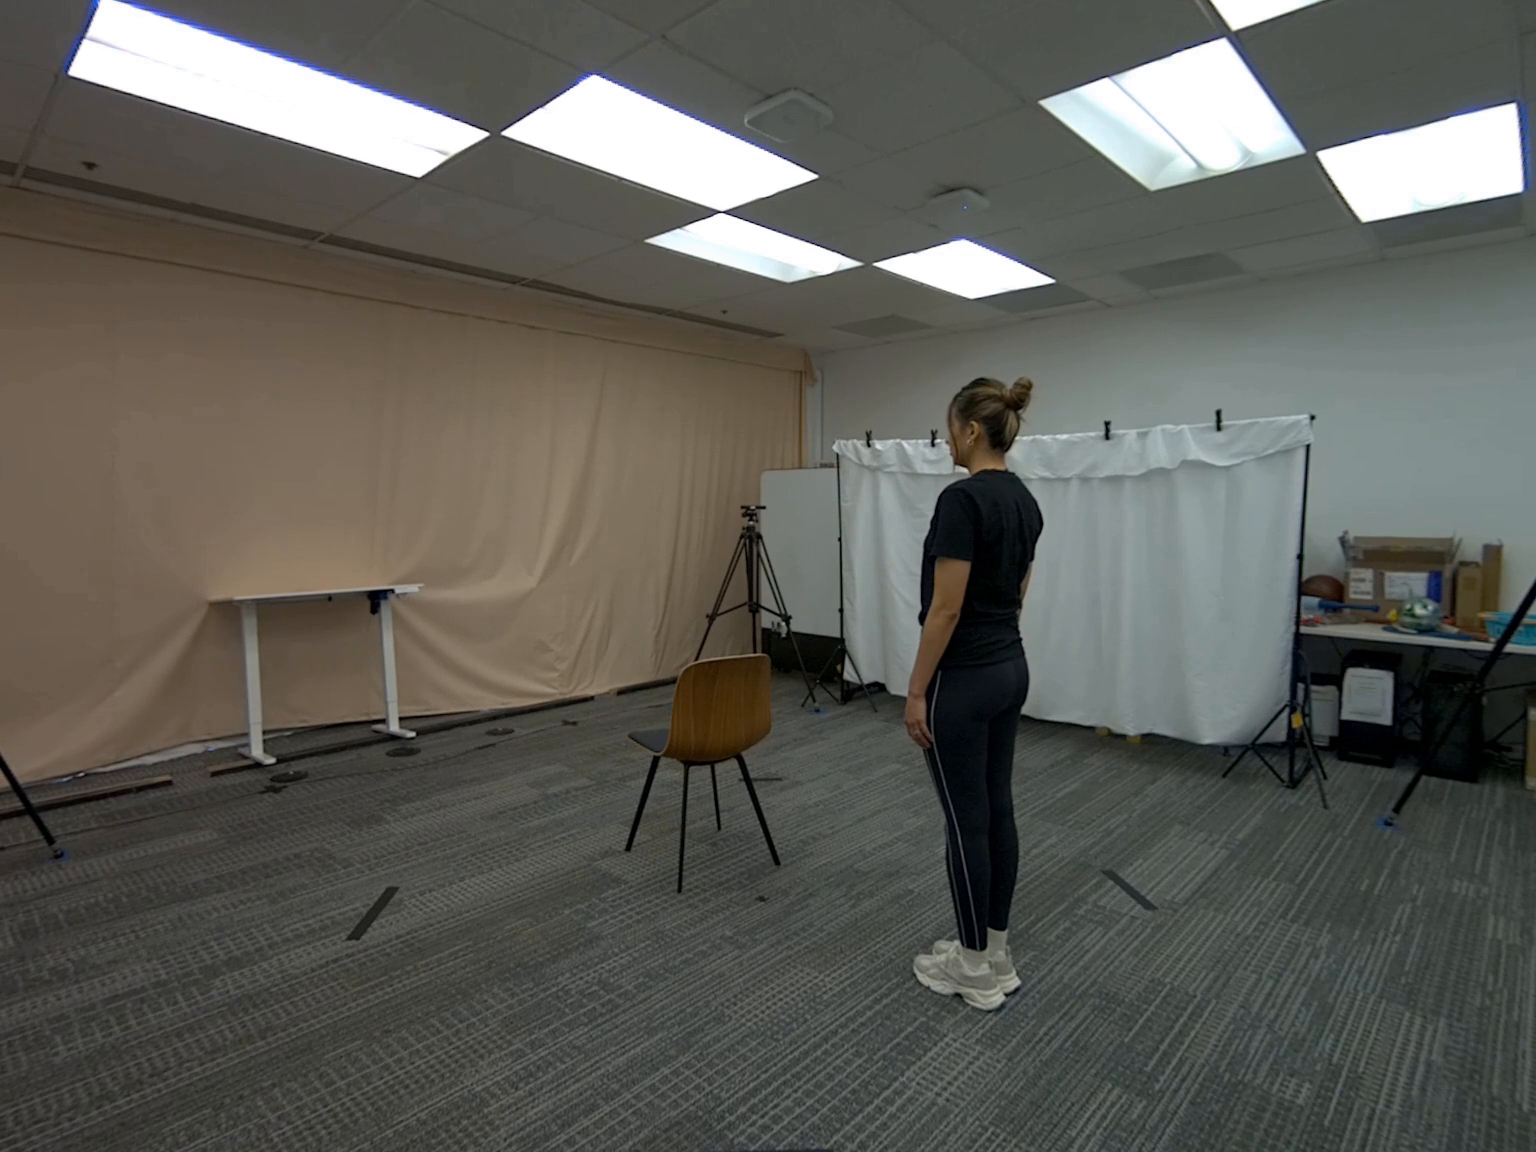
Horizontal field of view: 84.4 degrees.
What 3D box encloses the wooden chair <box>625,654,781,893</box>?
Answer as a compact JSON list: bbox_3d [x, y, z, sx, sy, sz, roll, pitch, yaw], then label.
[{"bbox_3d":[-0.274,0.691,3.312,0.465,0.874,0.540,-3,8,-33],"label":"wooden chair"}]
